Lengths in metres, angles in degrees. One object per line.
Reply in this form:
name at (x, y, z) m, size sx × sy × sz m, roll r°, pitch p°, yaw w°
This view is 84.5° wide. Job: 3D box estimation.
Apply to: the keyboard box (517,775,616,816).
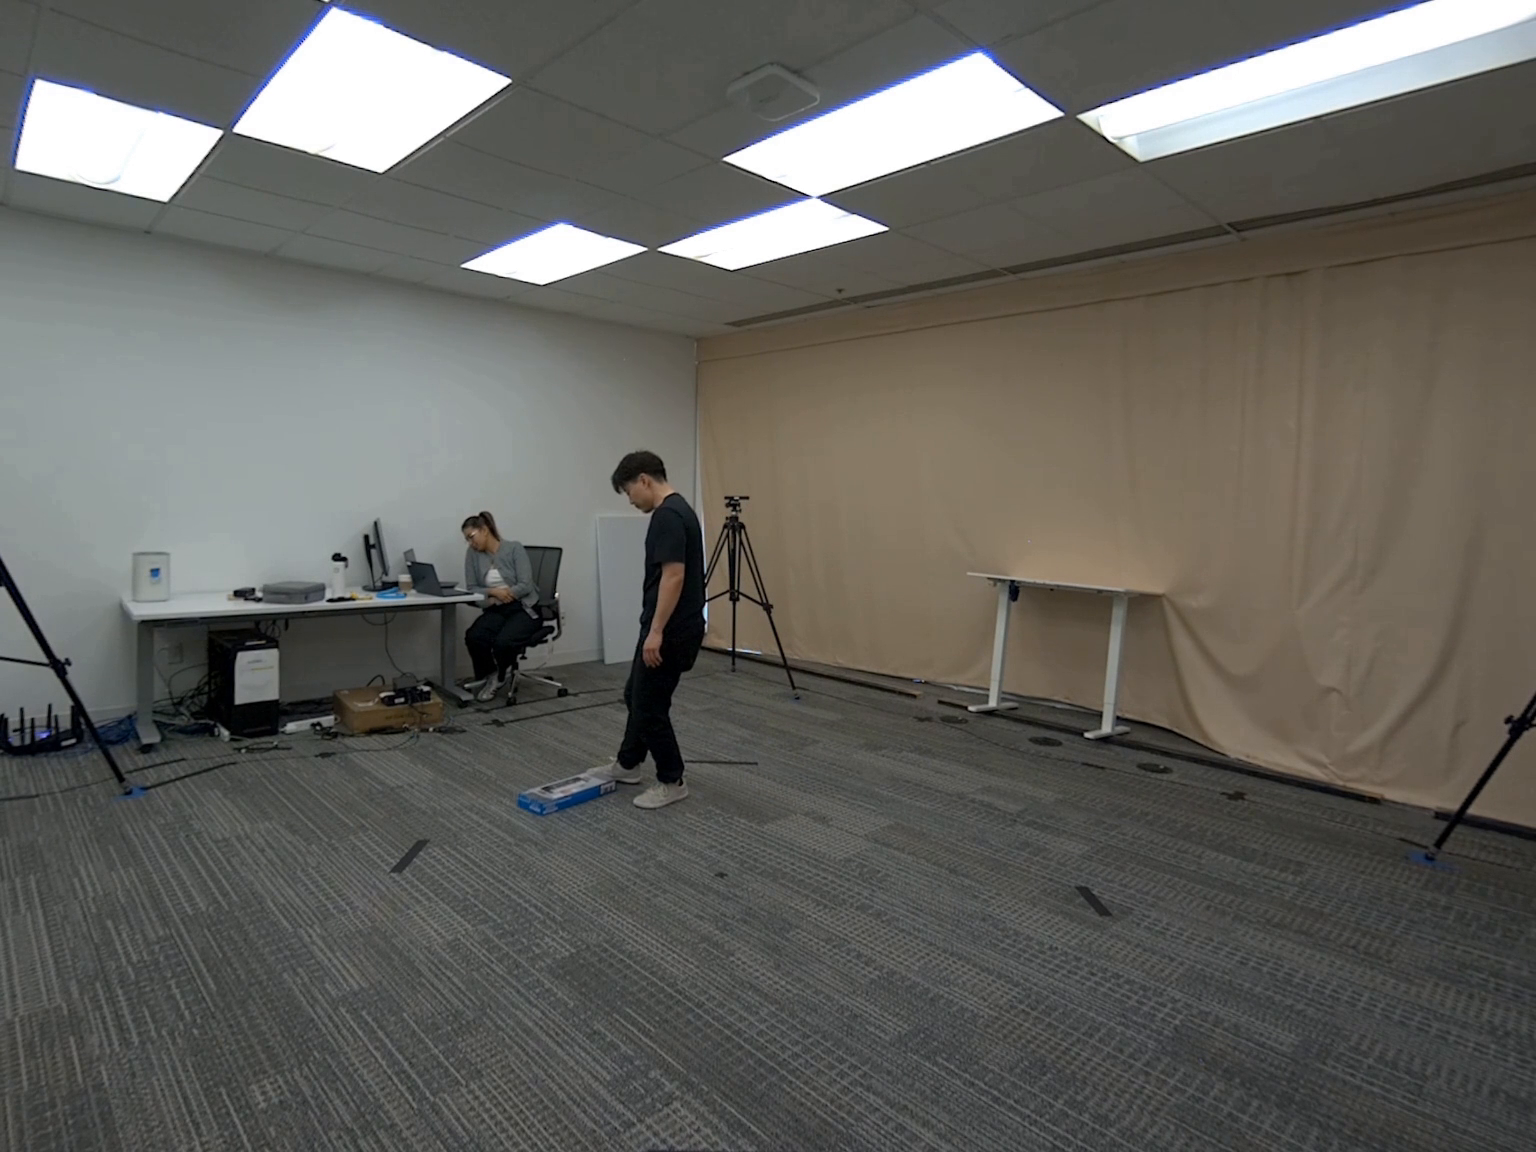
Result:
keyboard box at (-0.918, 0.991, 3.852) m, size 0.180 × 0.059 × 0.427 m, roll 6°, pitch 6°, yaw 38°
